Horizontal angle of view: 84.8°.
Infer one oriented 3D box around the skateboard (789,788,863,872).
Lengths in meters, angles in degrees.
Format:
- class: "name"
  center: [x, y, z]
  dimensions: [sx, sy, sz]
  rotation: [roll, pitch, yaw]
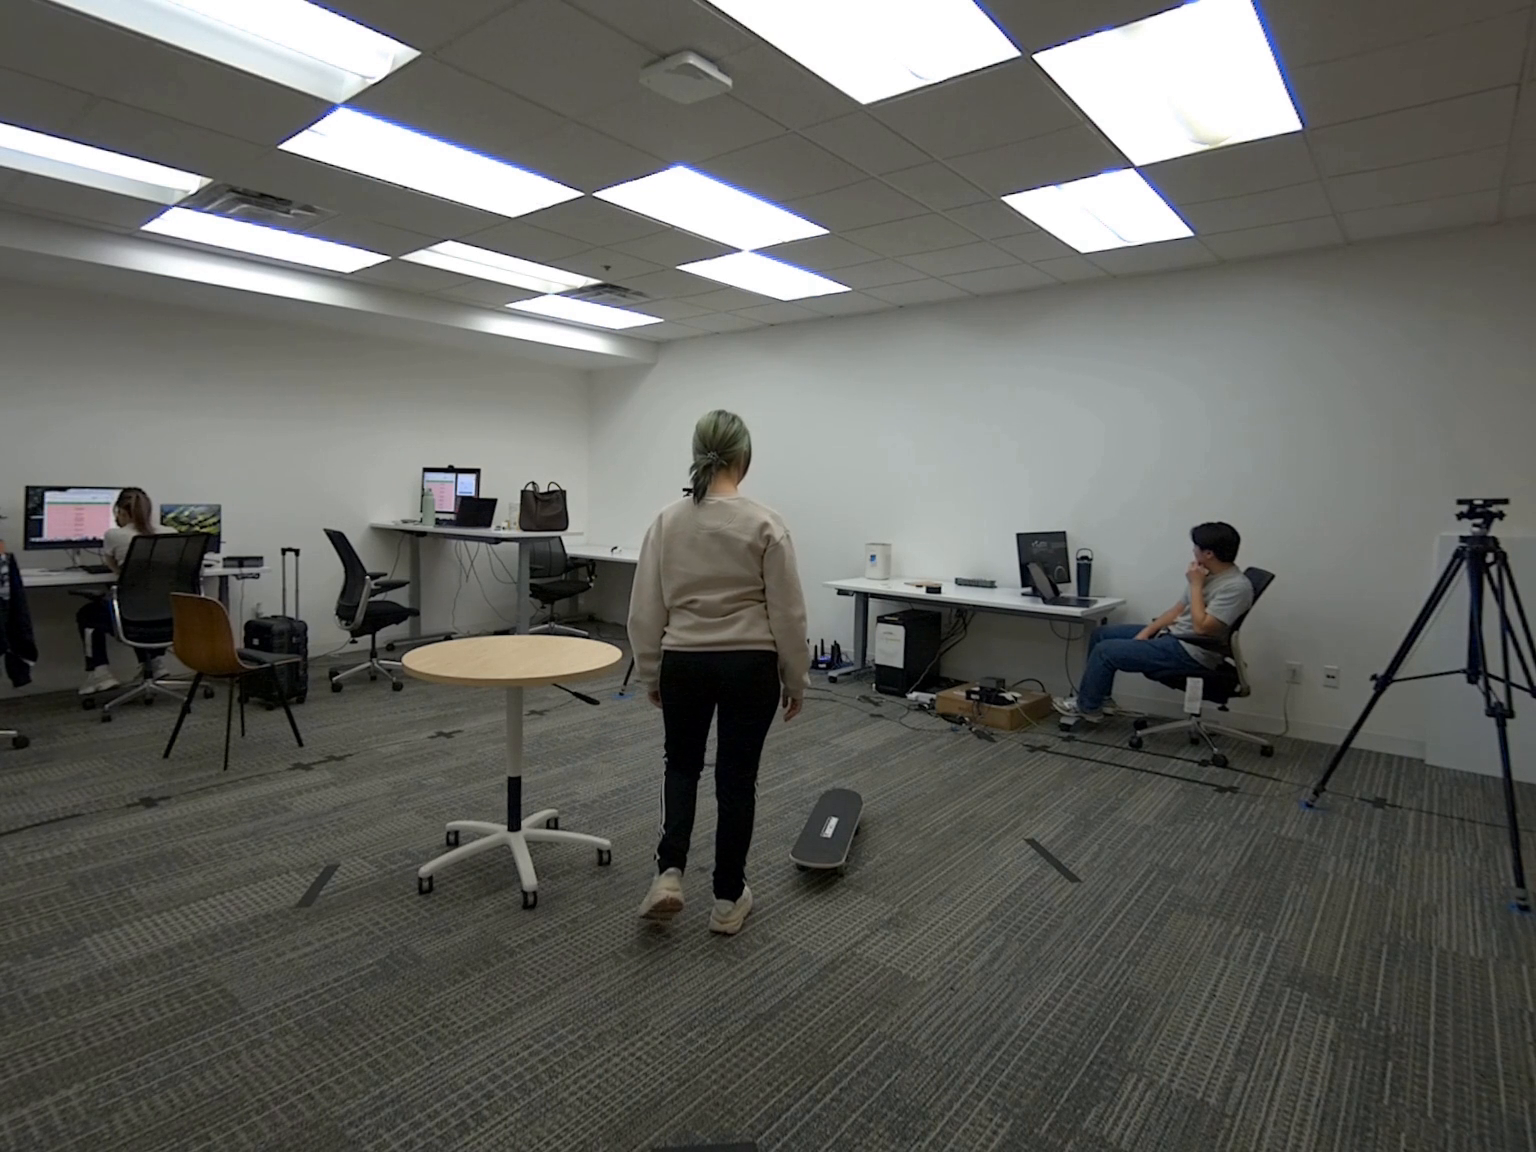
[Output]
- class: "skateboard"
  center: [0.237, 1.003, 3.310]
  dimensions: [0.196, 0.110, 0.776]
  rotation: [2, 6, 13]
